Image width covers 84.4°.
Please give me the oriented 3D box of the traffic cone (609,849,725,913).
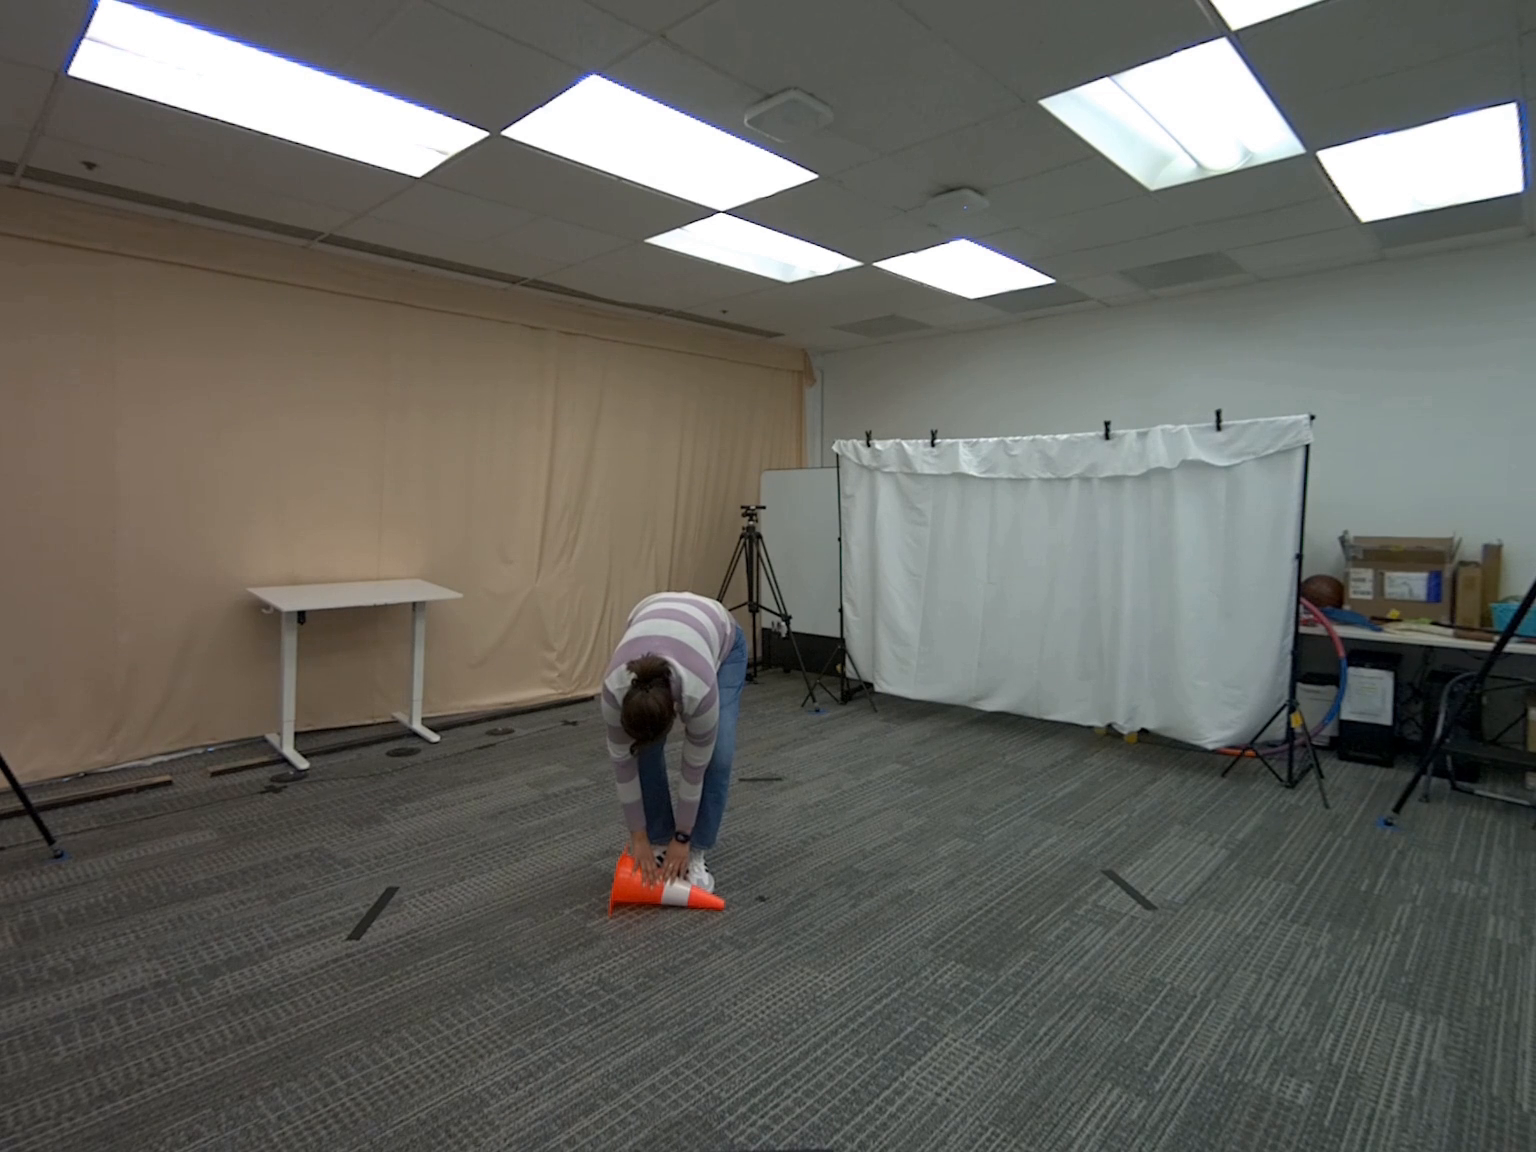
[{"bbox_3d":[-0.334,1.085,2.918,0.386,0.203,0.204,12,8,6],"label":"traffic cone"}]
